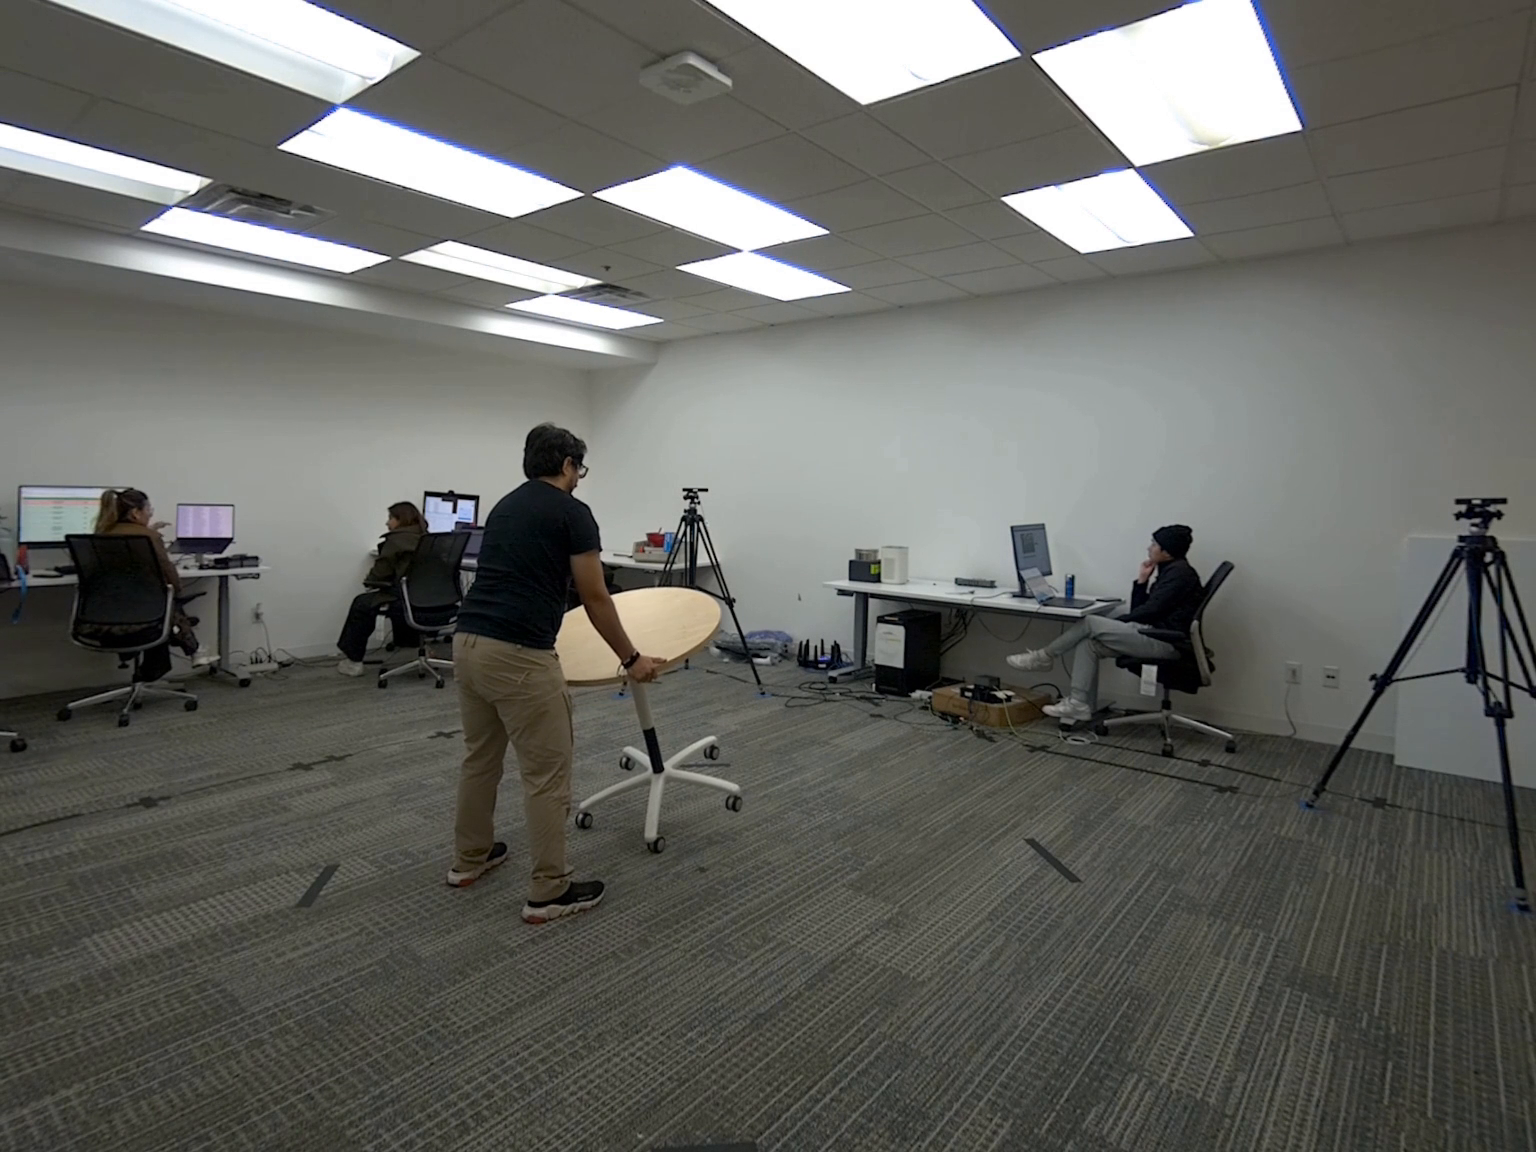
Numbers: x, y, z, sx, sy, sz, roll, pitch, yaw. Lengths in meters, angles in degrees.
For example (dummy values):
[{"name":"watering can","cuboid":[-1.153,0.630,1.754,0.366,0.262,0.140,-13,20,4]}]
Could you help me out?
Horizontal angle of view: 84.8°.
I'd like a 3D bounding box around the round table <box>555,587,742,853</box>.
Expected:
[{"name":"round table","cuboid":[-0.507,0.572,3.422,0.787,0.770,0.800,-10,20,2]}]
